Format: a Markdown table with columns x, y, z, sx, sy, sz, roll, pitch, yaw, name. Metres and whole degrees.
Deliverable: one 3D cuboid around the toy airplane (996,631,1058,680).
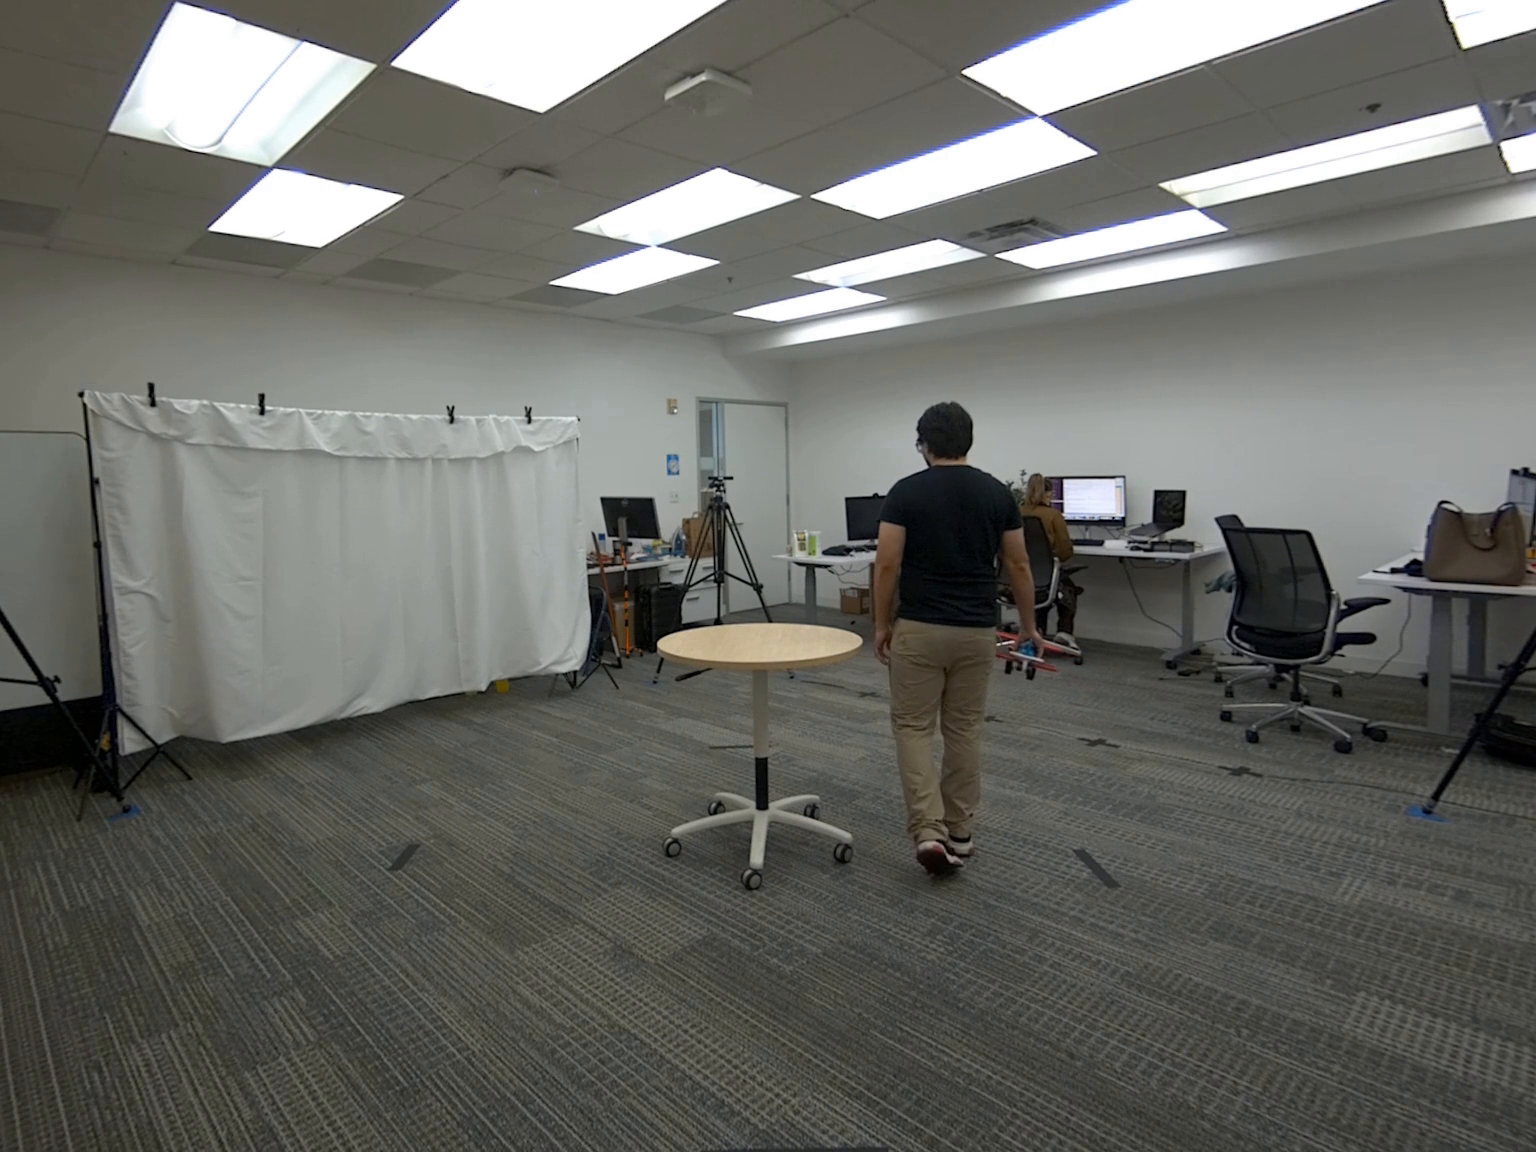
| x | y | z | sx | sy | sz | roll | pitch | yaw | name |
| --- | --- | --- | --- | --- | --- | --- | --- | --- | --- |
| 1.006 | 0.307 | 3.272 | 0.248 | 0.157 | 0.261 | 19 | -11 | -12 | toy airplane |
